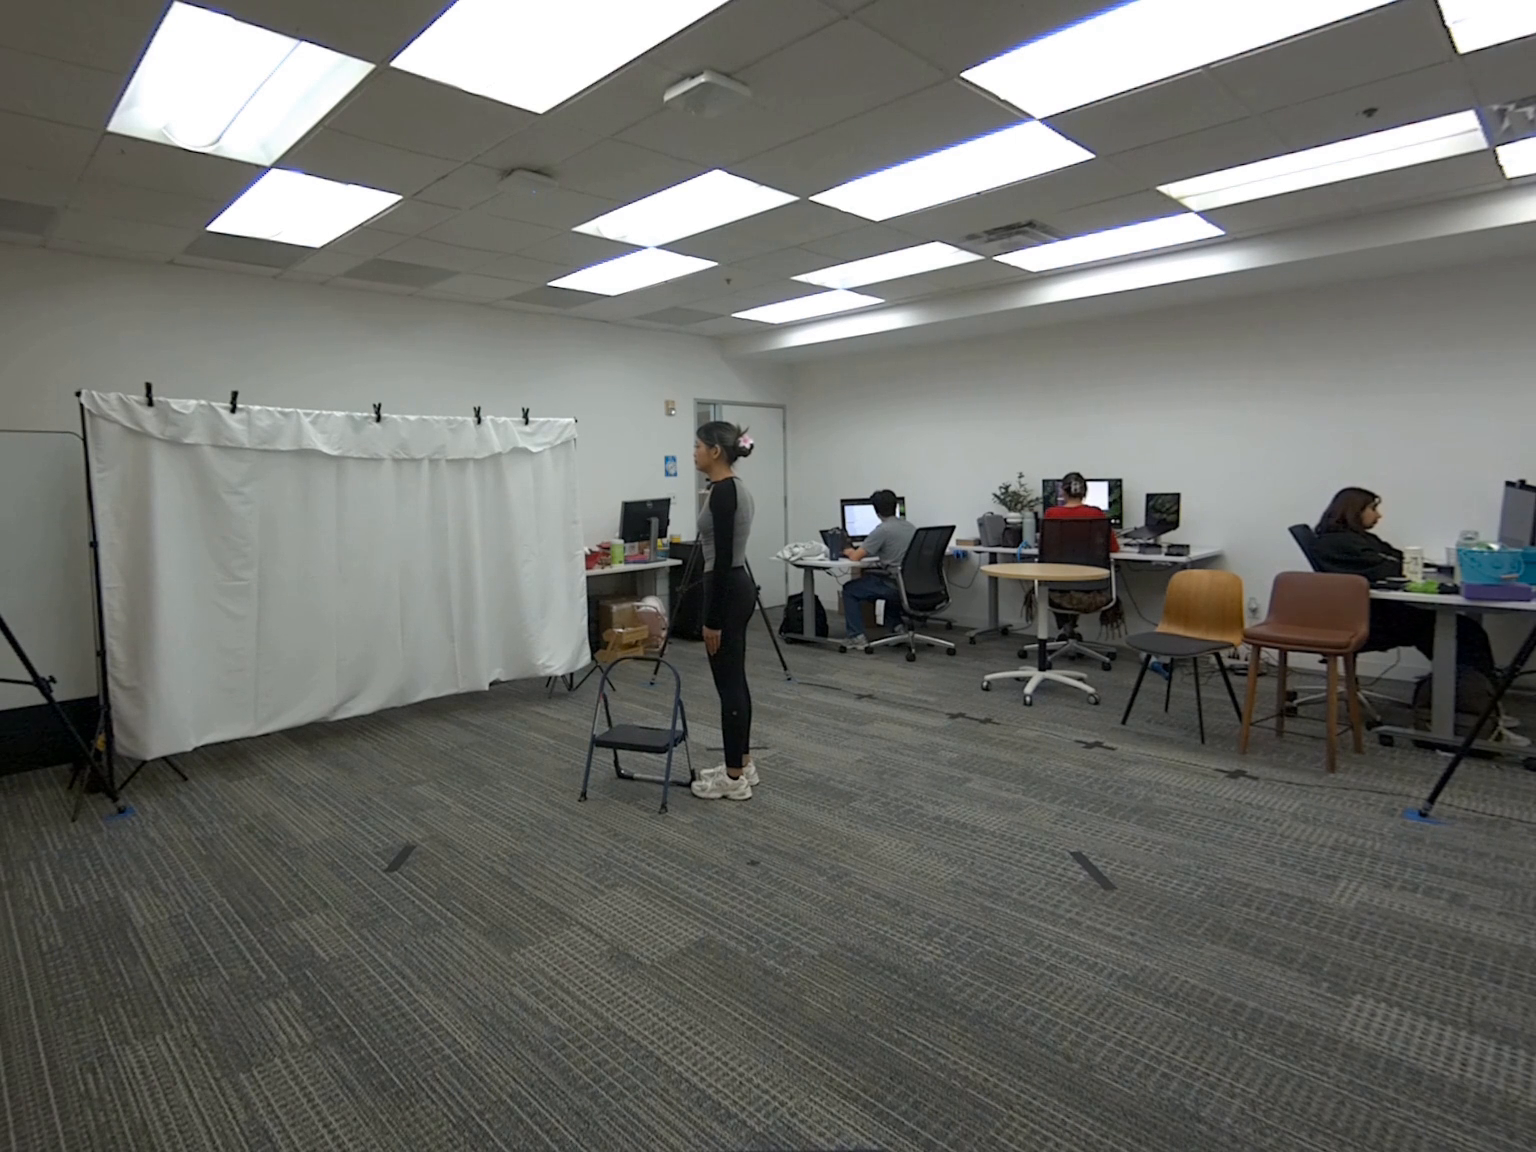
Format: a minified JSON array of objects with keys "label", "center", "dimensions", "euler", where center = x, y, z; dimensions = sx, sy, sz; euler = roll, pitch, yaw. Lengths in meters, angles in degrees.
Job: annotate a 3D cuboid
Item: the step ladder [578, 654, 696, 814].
[{"label":"step ladder","center":[-0.578,0.674,3.804],"dimensions":[0.440,0.604,0.343],"euler":[2,5,22]}]
